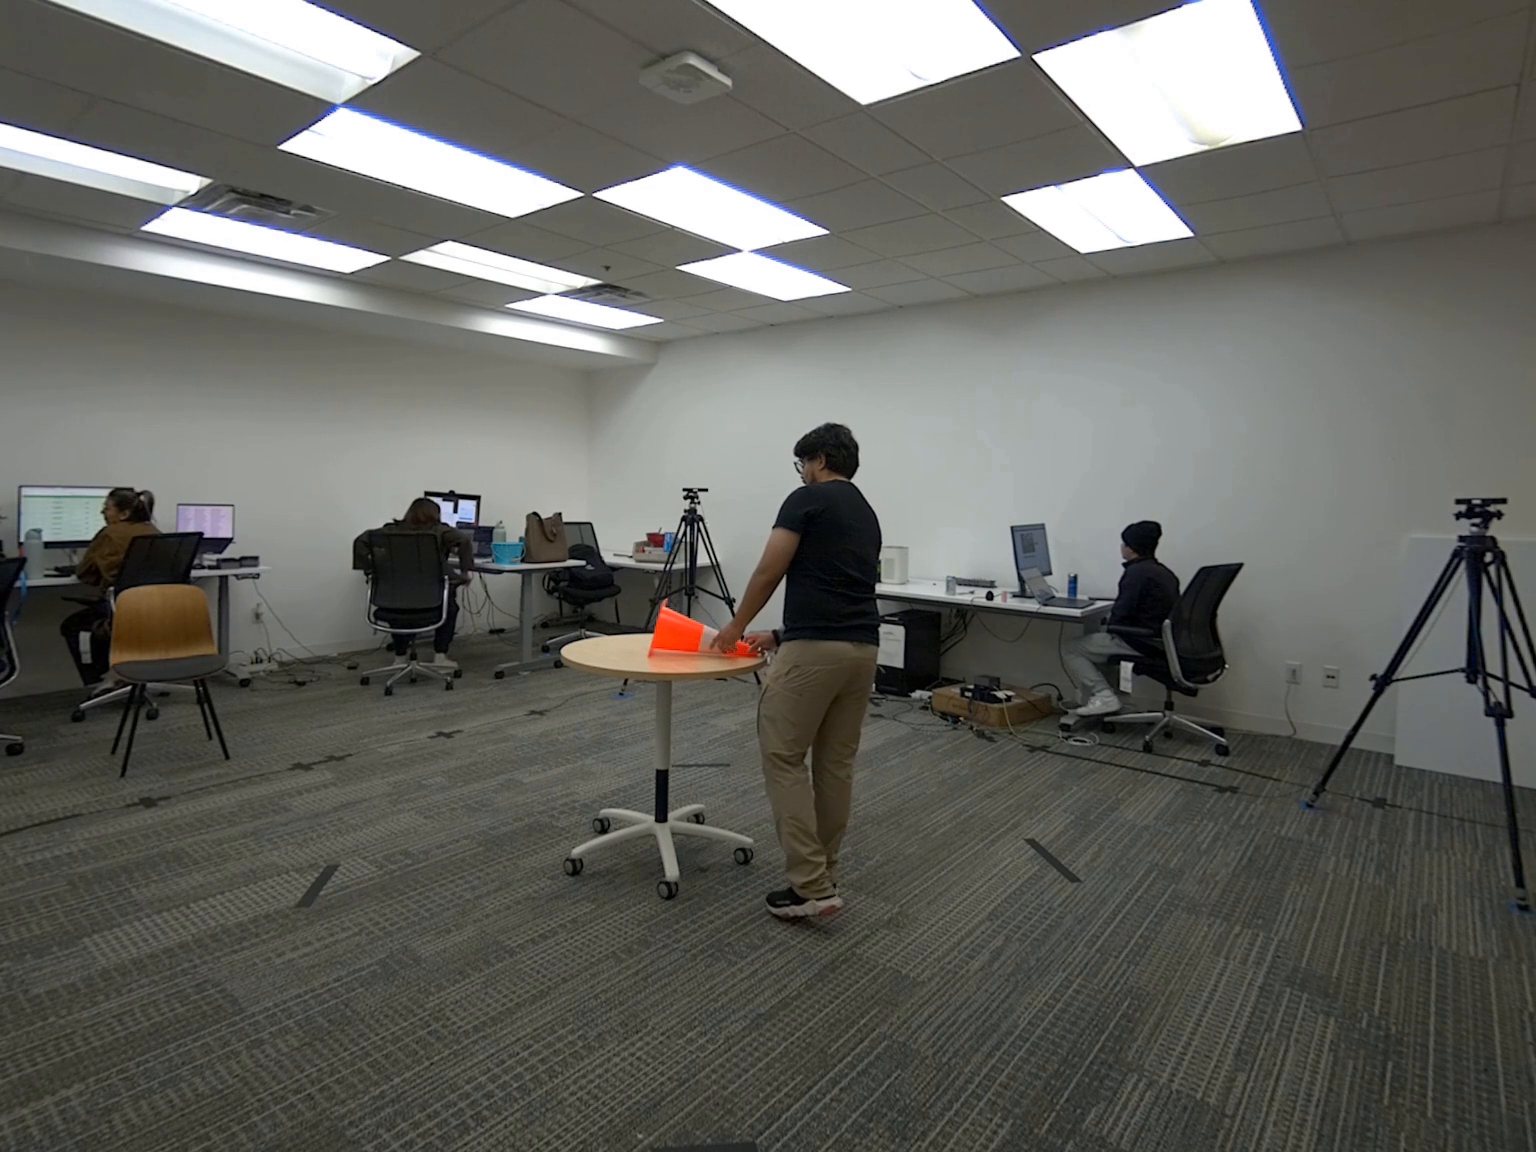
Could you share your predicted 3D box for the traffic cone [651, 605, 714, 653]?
[{"bbox_3d":[-0.235,0.233,3.118,0.381,0.204,0.206,13,-2,-5],"label":"traffic cone"}]
